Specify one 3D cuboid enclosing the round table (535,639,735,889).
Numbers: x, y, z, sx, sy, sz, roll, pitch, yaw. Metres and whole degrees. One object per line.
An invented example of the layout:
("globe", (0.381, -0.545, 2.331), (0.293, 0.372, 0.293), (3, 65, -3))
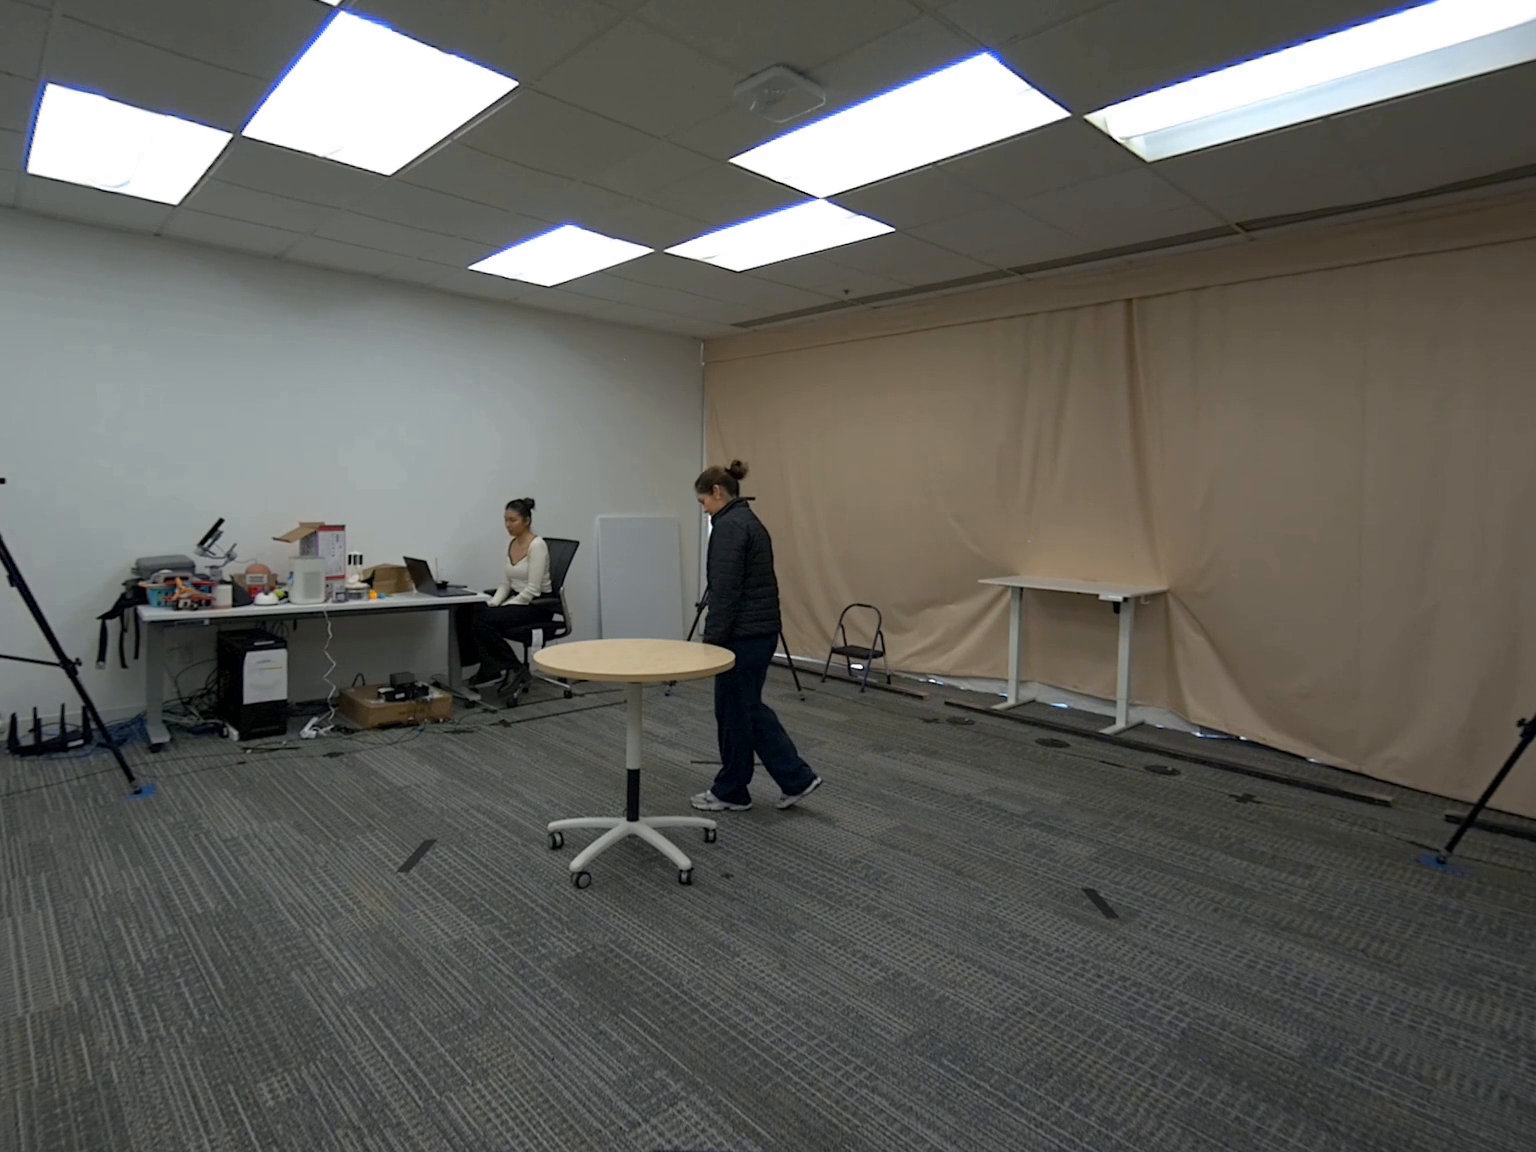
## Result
("round table", (-0.514, 0.694, 3.215), (0.784, 0.785, 0.787), (1, 3, -1))
